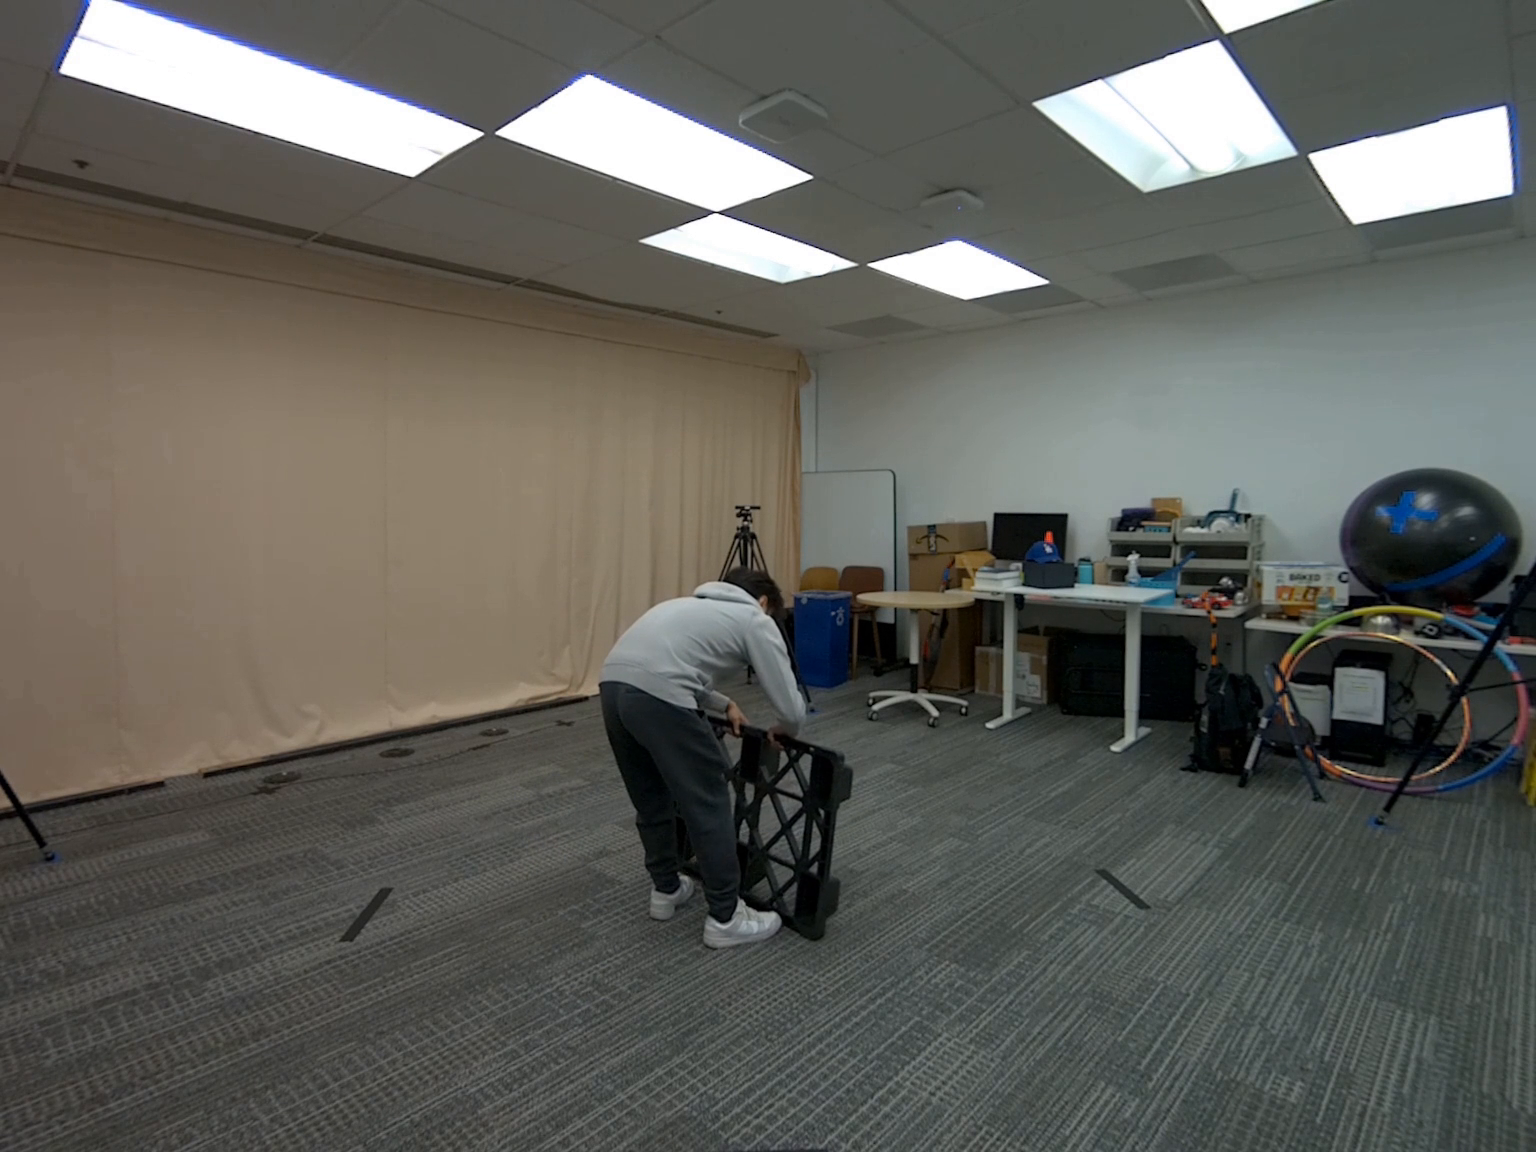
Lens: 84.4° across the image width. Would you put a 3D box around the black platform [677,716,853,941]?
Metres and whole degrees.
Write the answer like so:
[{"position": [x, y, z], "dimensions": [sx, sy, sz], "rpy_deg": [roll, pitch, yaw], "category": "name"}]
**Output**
[{"position": [-0.036, 0.848, 3.039], "dimensions": [0.138, 0.605, 0.833], "rpy_deg": [8, -2, -43], "category": "black platform"}]
